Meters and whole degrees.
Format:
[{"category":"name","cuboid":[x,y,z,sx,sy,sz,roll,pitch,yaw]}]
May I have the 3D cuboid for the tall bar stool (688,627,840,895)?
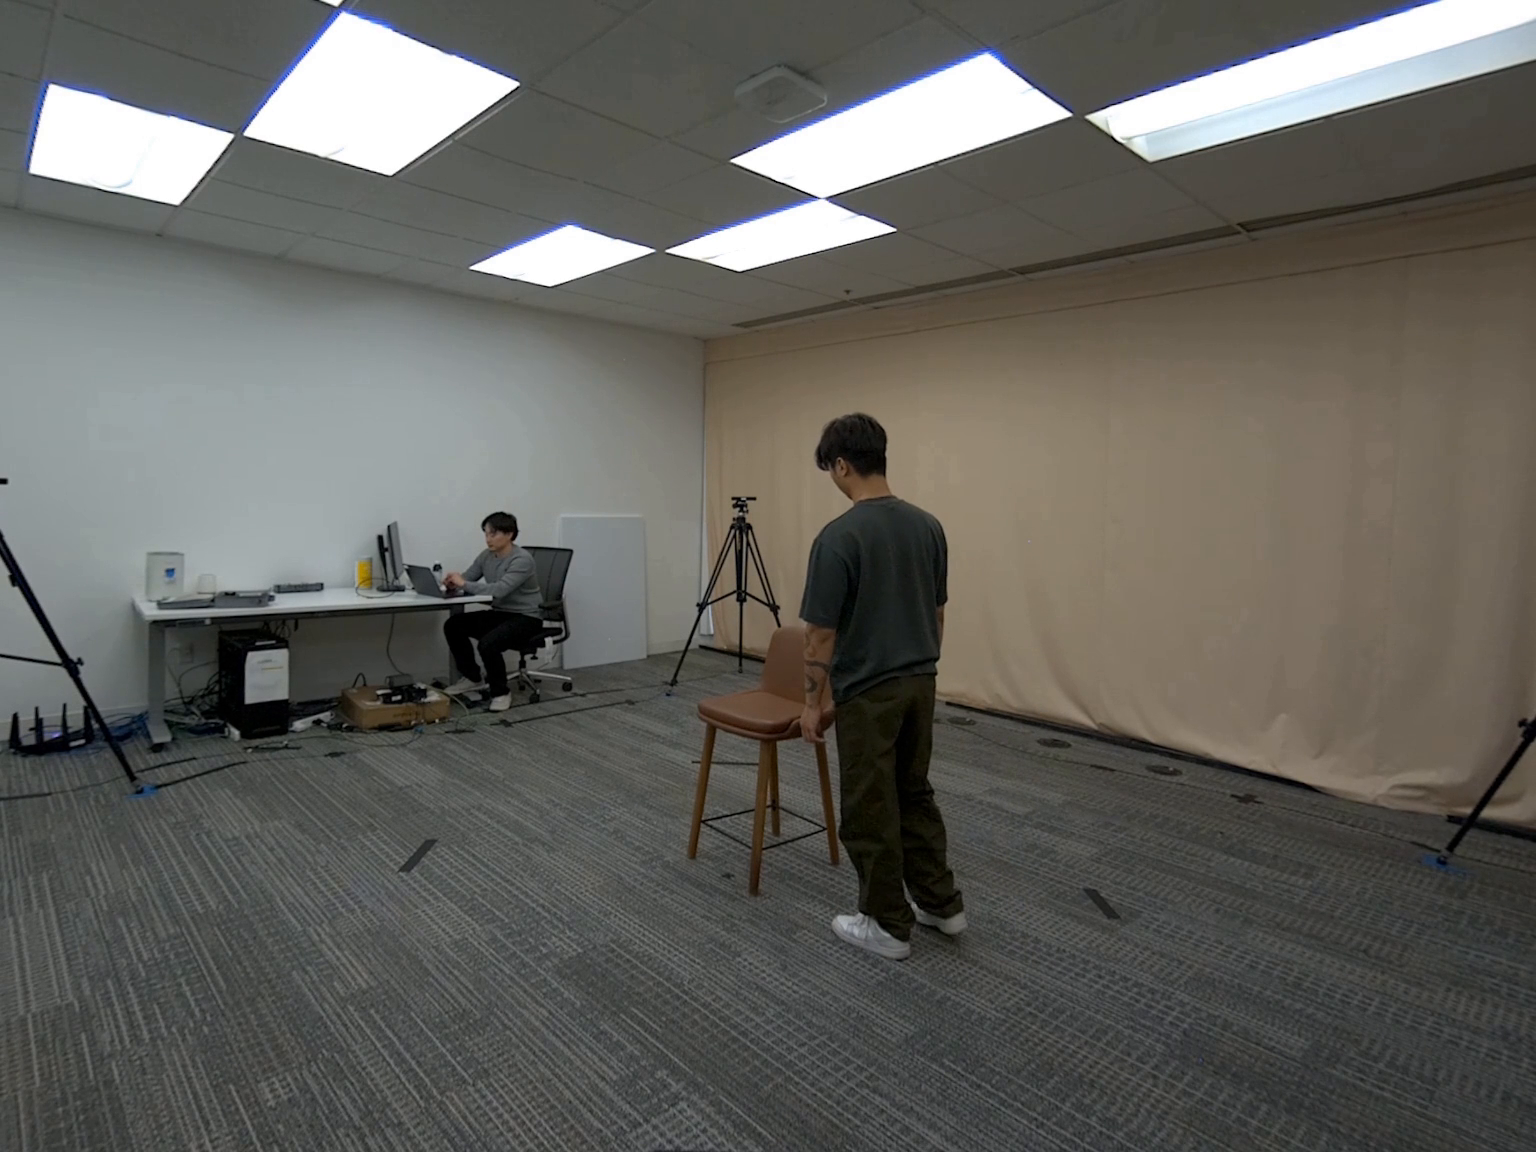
[{"category":"tall bar stool","cuboid":[-0.007,0.665,3.220,0.456,0.889,0.468,1,2,-39]}]
